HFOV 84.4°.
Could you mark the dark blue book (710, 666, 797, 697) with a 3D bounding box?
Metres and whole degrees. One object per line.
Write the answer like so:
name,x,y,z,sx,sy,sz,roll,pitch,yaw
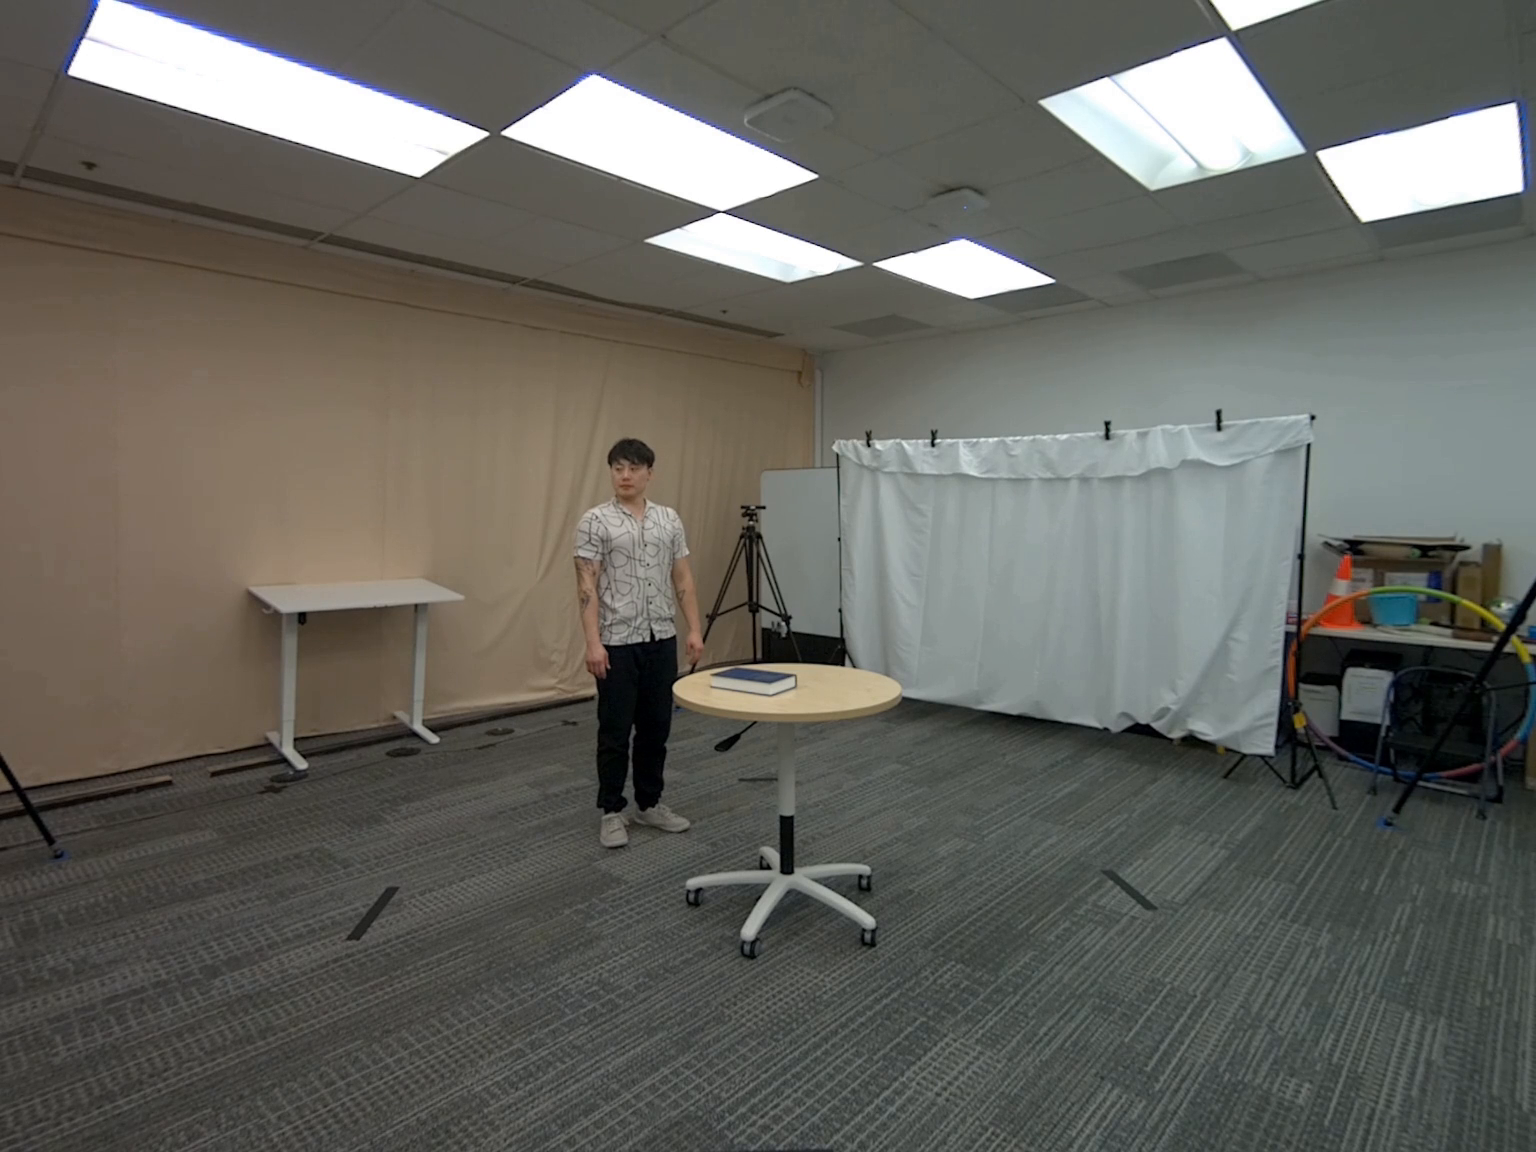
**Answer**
dark blue book,-0.053,0.352,2.809,0.253,0.045,0.159,3,6,35
